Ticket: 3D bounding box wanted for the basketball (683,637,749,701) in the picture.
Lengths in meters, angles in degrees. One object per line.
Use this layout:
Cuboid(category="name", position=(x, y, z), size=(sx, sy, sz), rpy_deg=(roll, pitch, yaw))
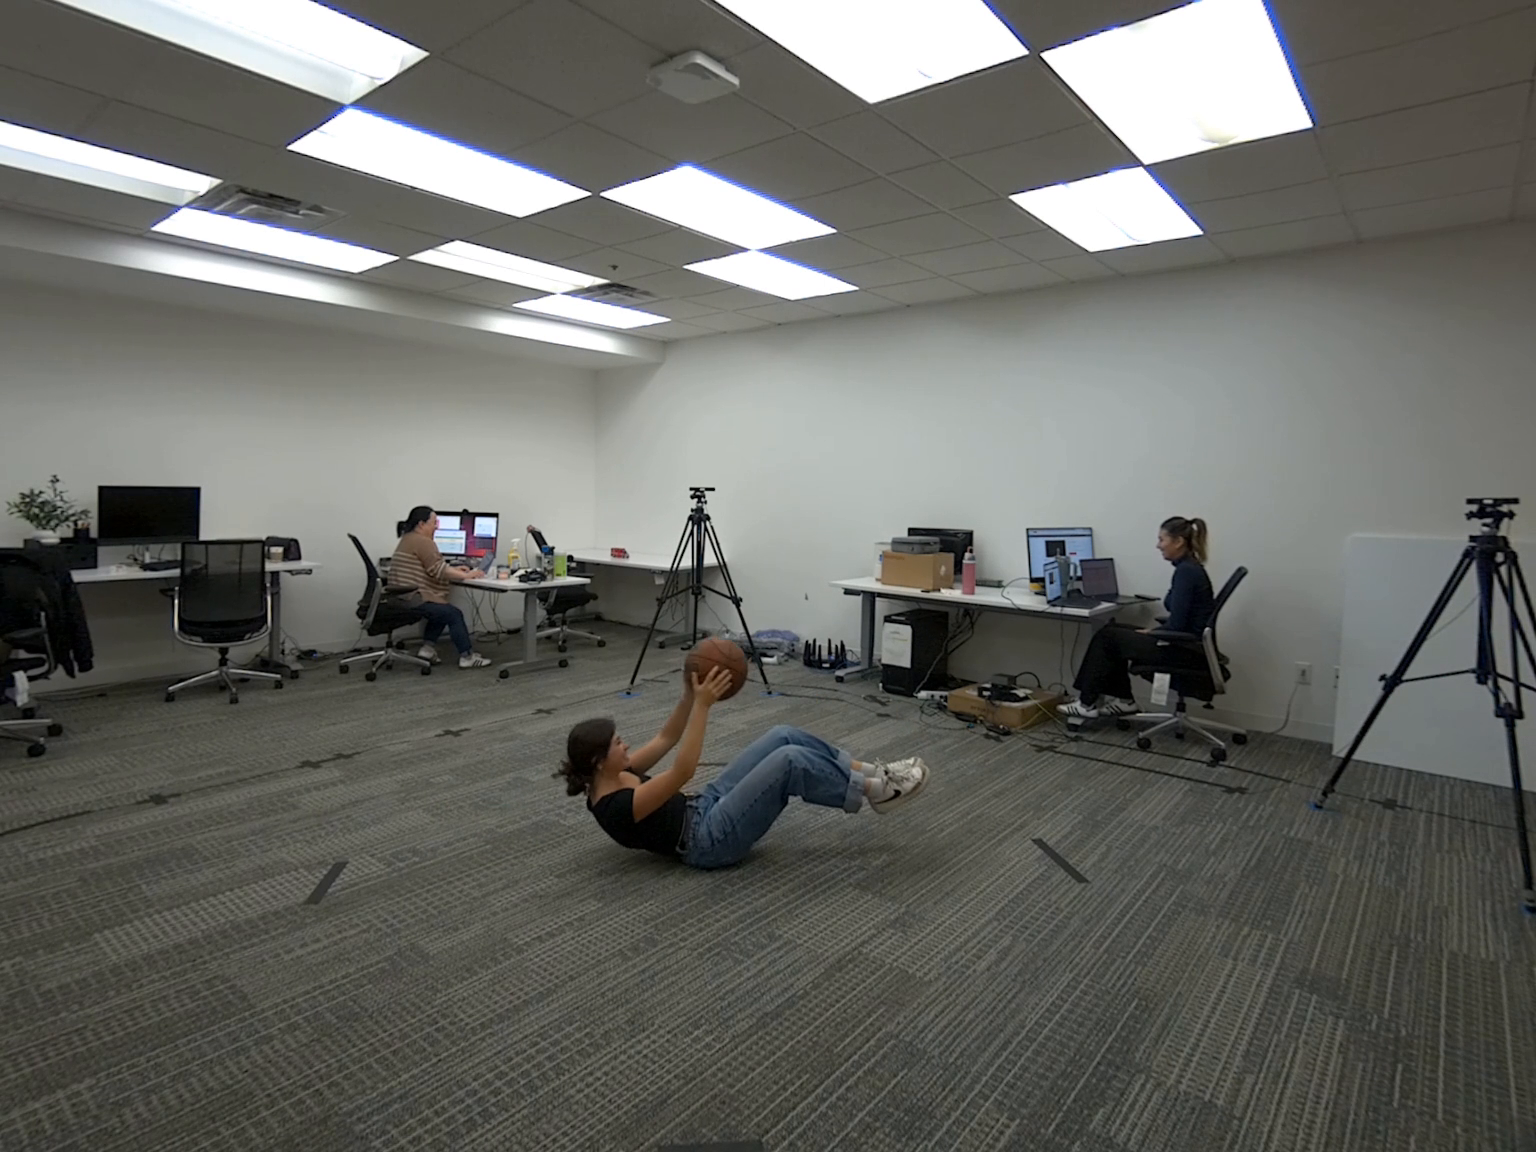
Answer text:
Cuboid(category="basketball", position=(-0.207, 0.354, 3.171), size=(0.235, 0.235, 0.237), rpy_deg=(1, 4, -2))
